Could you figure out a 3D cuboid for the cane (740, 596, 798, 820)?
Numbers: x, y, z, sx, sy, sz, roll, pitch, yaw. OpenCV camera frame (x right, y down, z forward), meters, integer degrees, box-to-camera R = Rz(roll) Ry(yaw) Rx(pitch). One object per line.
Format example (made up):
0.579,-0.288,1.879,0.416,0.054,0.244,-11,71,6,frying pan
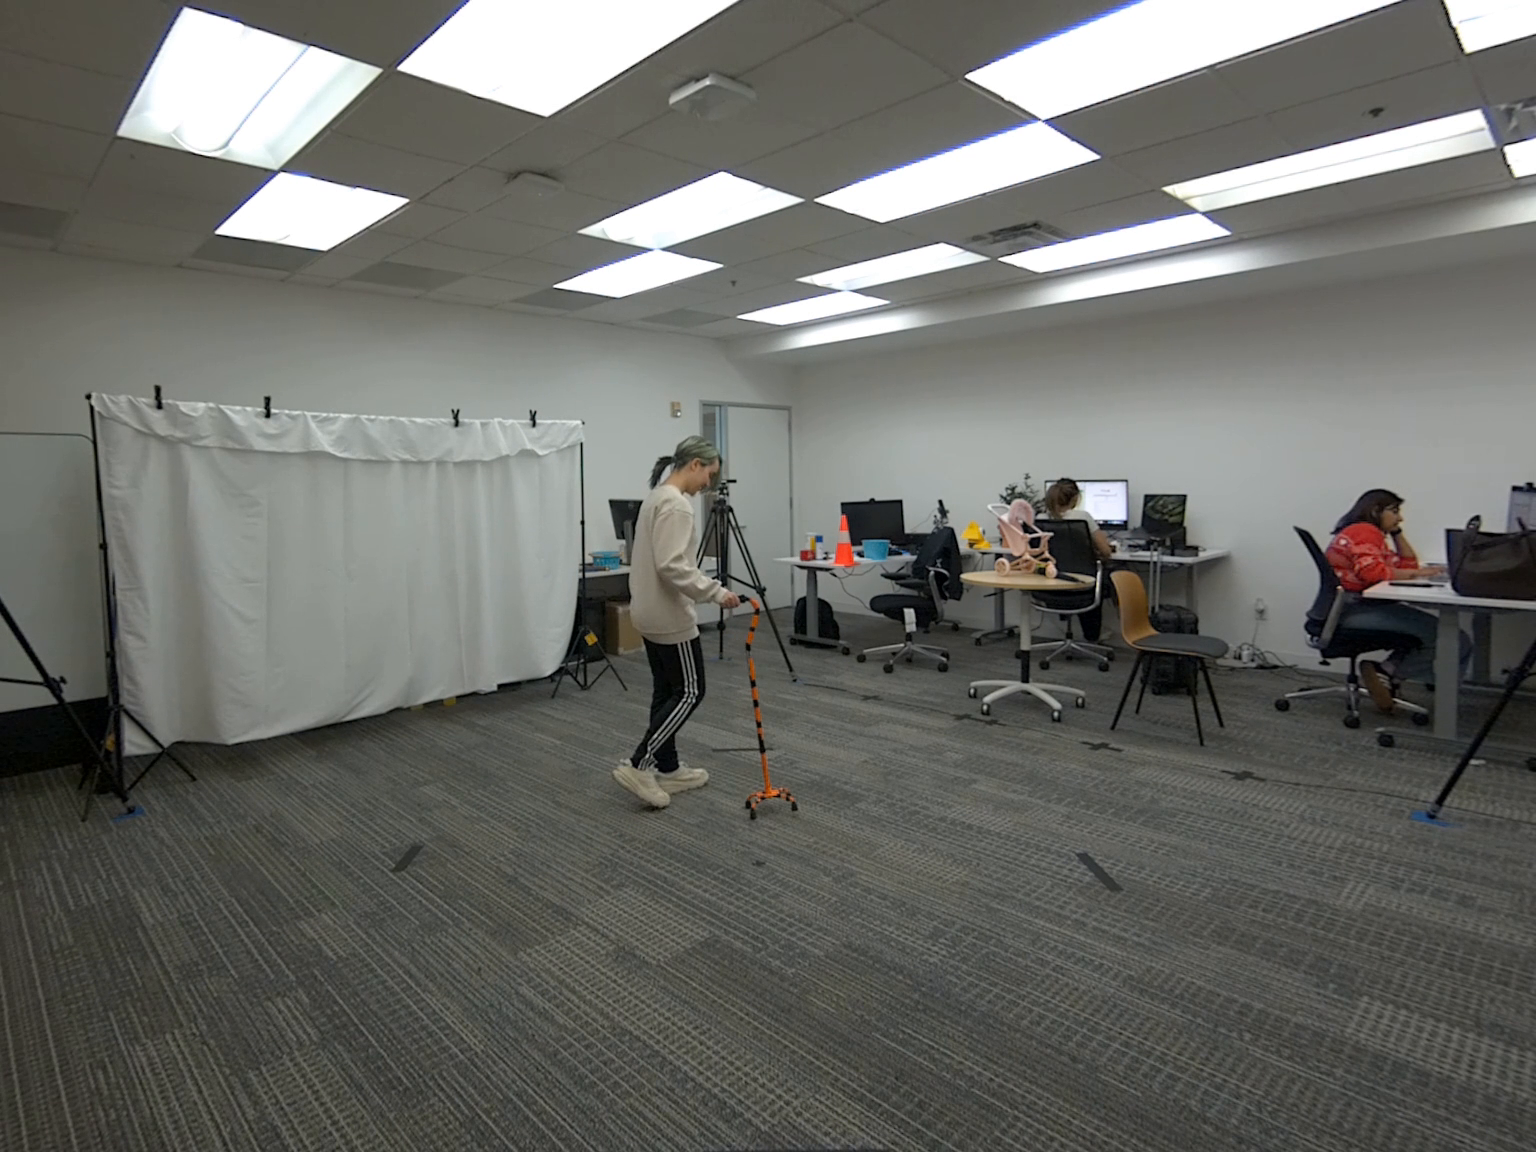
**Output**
-0.042,0.537,3.567,0.205,0.905,0.153,-8,3,-10,cane
